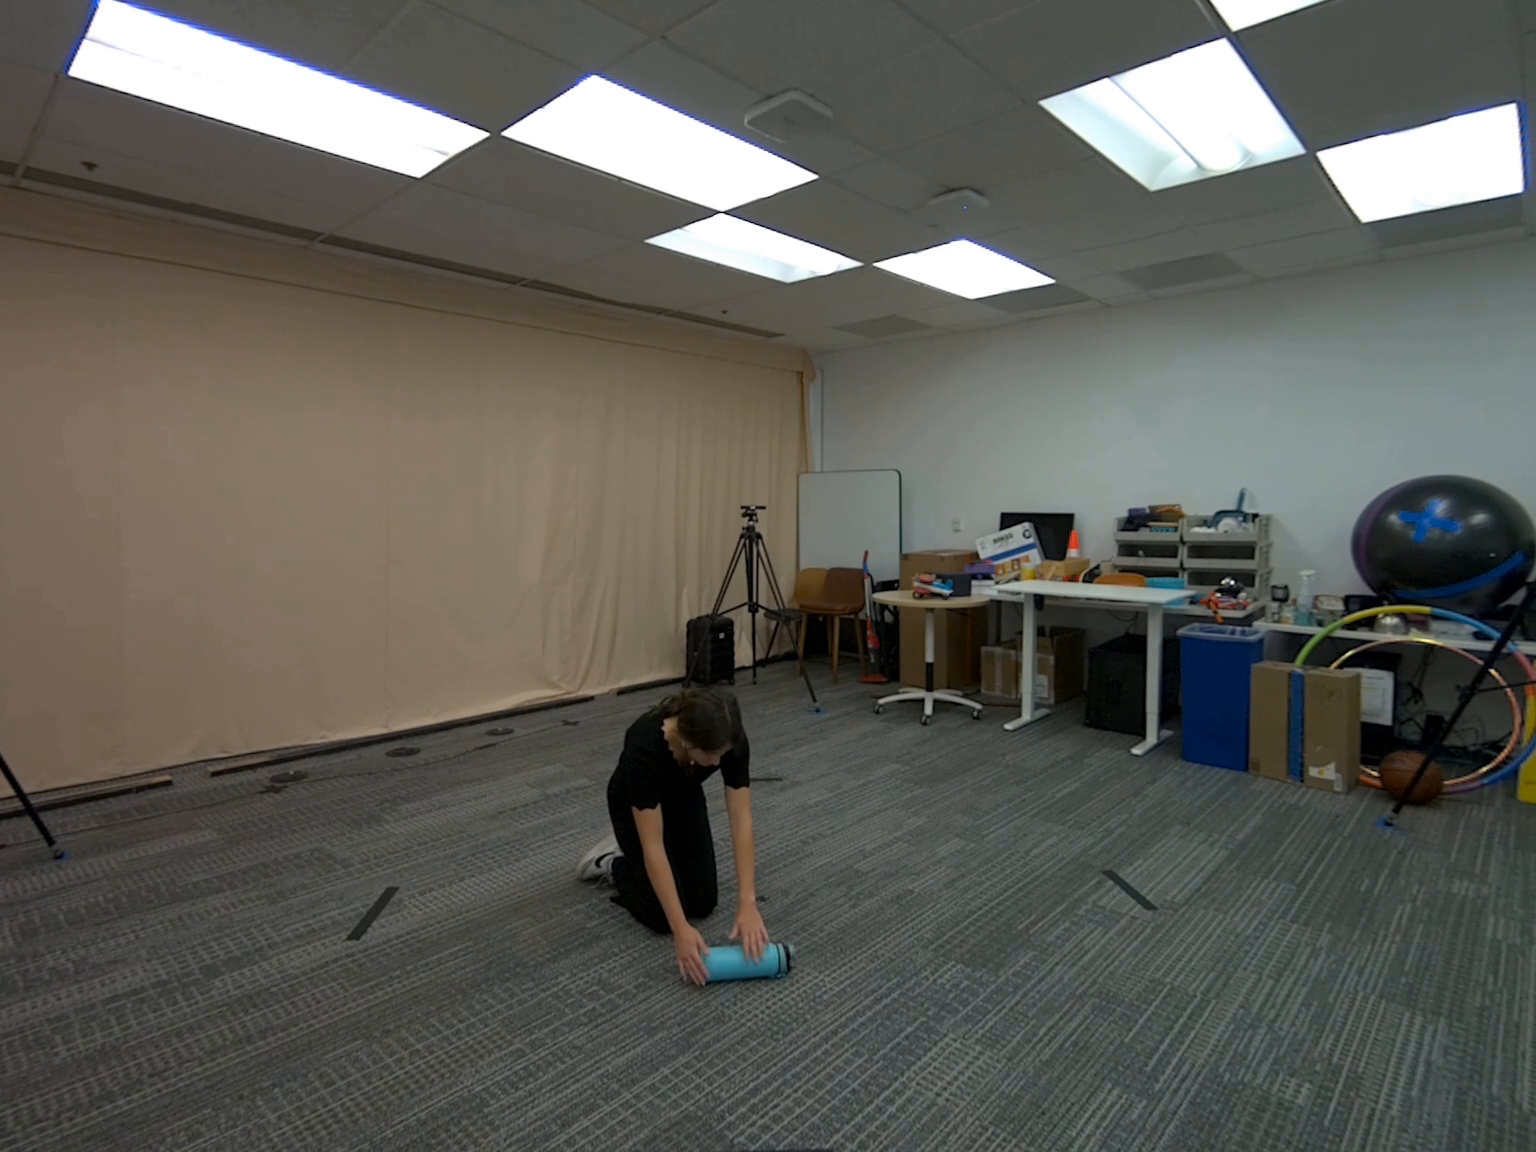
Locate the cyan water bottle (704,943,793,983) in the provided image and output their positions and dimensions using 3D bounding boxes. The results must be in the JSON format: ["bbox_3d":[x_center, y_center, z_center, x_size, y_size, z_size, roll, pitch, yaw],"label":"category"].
[{"bbox_3d":[-0.060,1.135,2.486,0.281,0.092,0.093,1,4,-8],"label":"cyan water bottle"}]
